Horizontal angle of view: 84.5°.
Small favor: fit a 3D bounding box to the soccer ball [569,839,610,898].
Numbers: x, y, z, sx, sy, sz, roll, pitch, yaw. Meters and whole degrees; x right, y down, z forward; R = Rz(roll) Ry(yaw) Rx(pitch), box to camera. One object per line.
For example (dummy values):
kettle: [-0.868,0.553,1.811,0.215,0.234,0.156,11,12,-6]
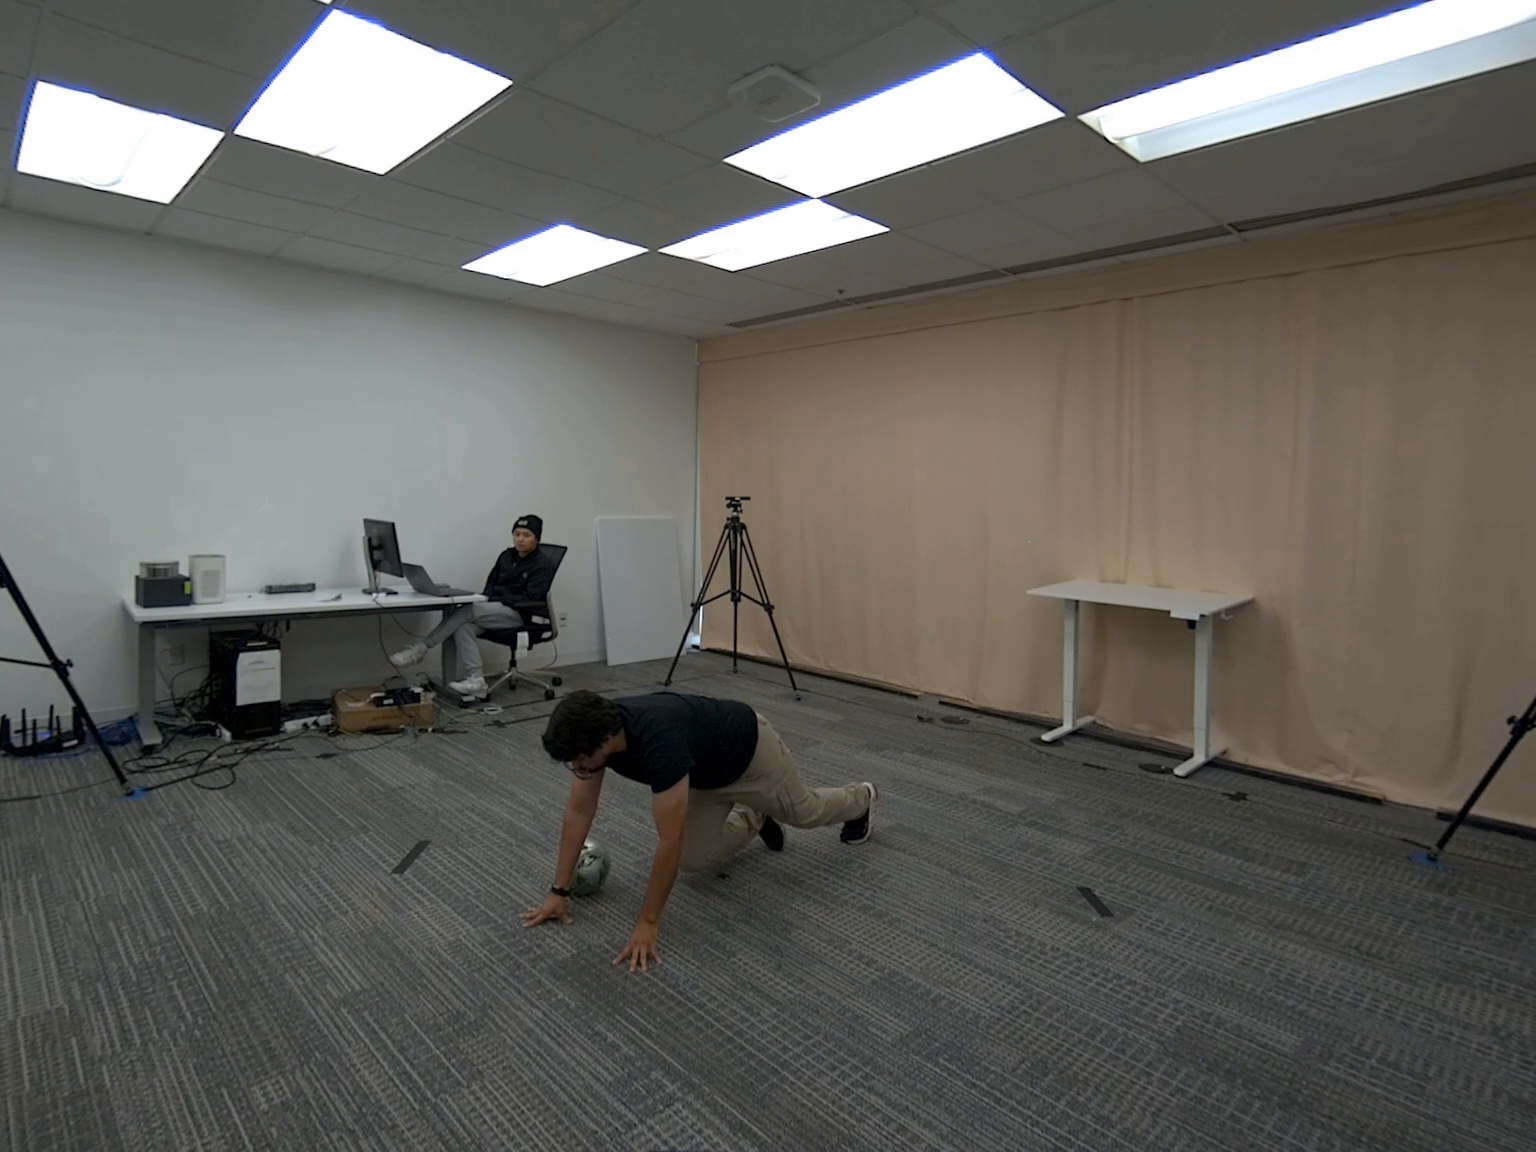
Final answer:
soccer ball: [-0.648,1.019,2.952,0.187,0.187,0.188,1,4,-1]
